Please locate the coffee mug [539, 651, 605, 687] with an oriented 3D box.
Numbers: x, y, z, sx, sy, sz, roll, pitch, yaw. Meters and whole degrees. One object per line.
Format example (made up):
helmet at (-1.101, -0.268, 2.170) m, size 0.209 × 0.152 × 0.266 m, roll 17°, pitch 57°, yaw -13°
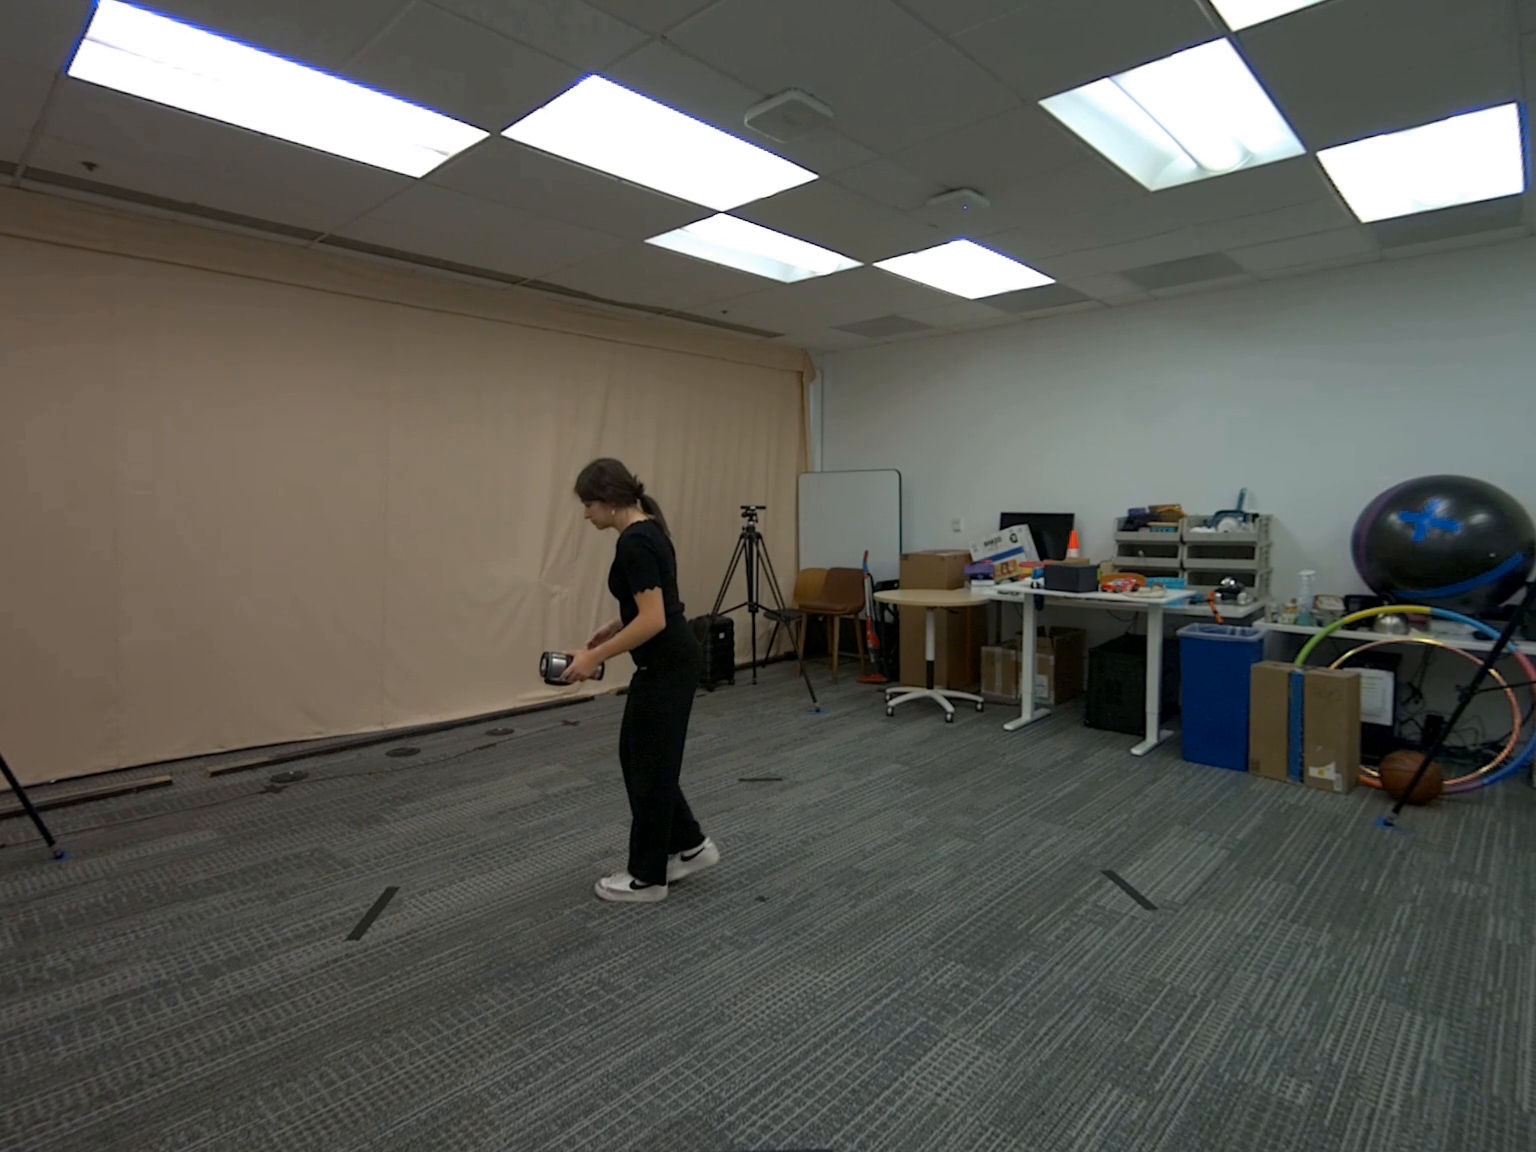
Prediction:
coffee mug at (-0.657, 0.313, 2.834) m, size 0.198 × 0.089 × 0.123 m, roll 8°, pitch -32°, yaw -26°
